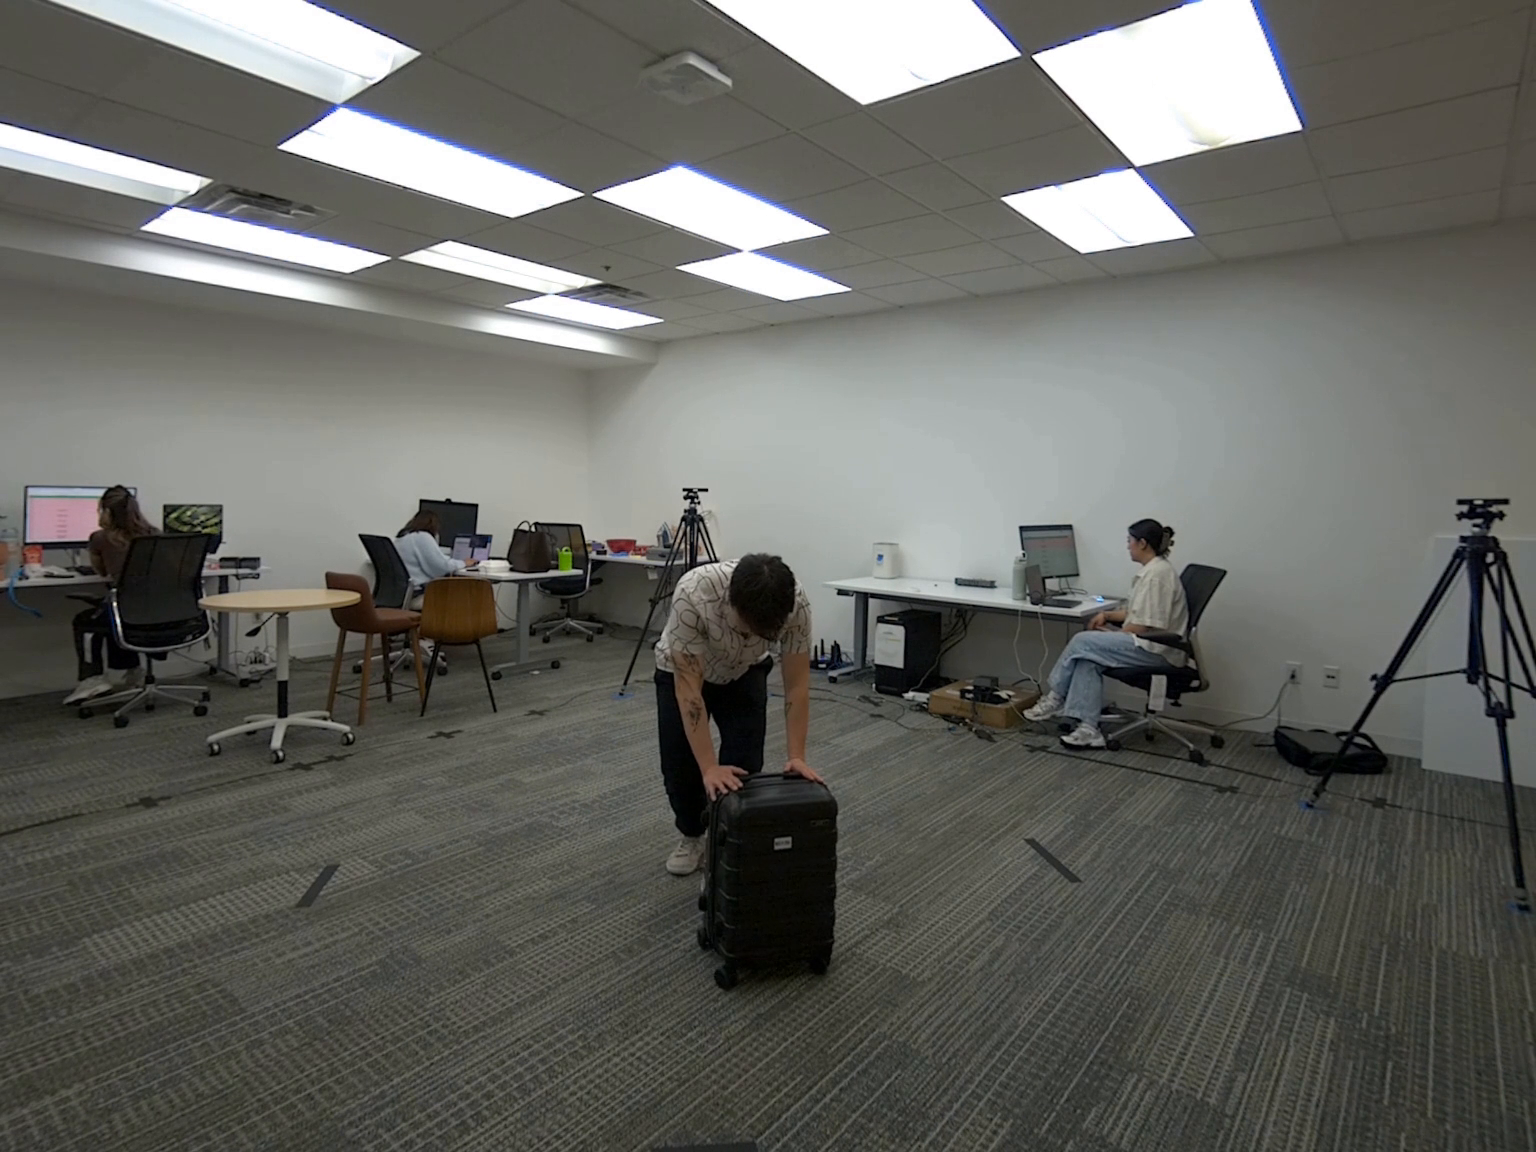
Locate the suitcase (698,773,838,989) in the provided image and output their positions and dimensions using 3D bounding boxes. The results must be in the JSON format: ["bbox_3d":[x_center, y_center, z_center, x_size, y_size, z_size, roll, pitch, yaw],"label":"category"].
[{"bbox_3d":[-0.002,0.860,2.498,0.368,0.547,0.254,1,5,-18],"label":"suitcase"}]
